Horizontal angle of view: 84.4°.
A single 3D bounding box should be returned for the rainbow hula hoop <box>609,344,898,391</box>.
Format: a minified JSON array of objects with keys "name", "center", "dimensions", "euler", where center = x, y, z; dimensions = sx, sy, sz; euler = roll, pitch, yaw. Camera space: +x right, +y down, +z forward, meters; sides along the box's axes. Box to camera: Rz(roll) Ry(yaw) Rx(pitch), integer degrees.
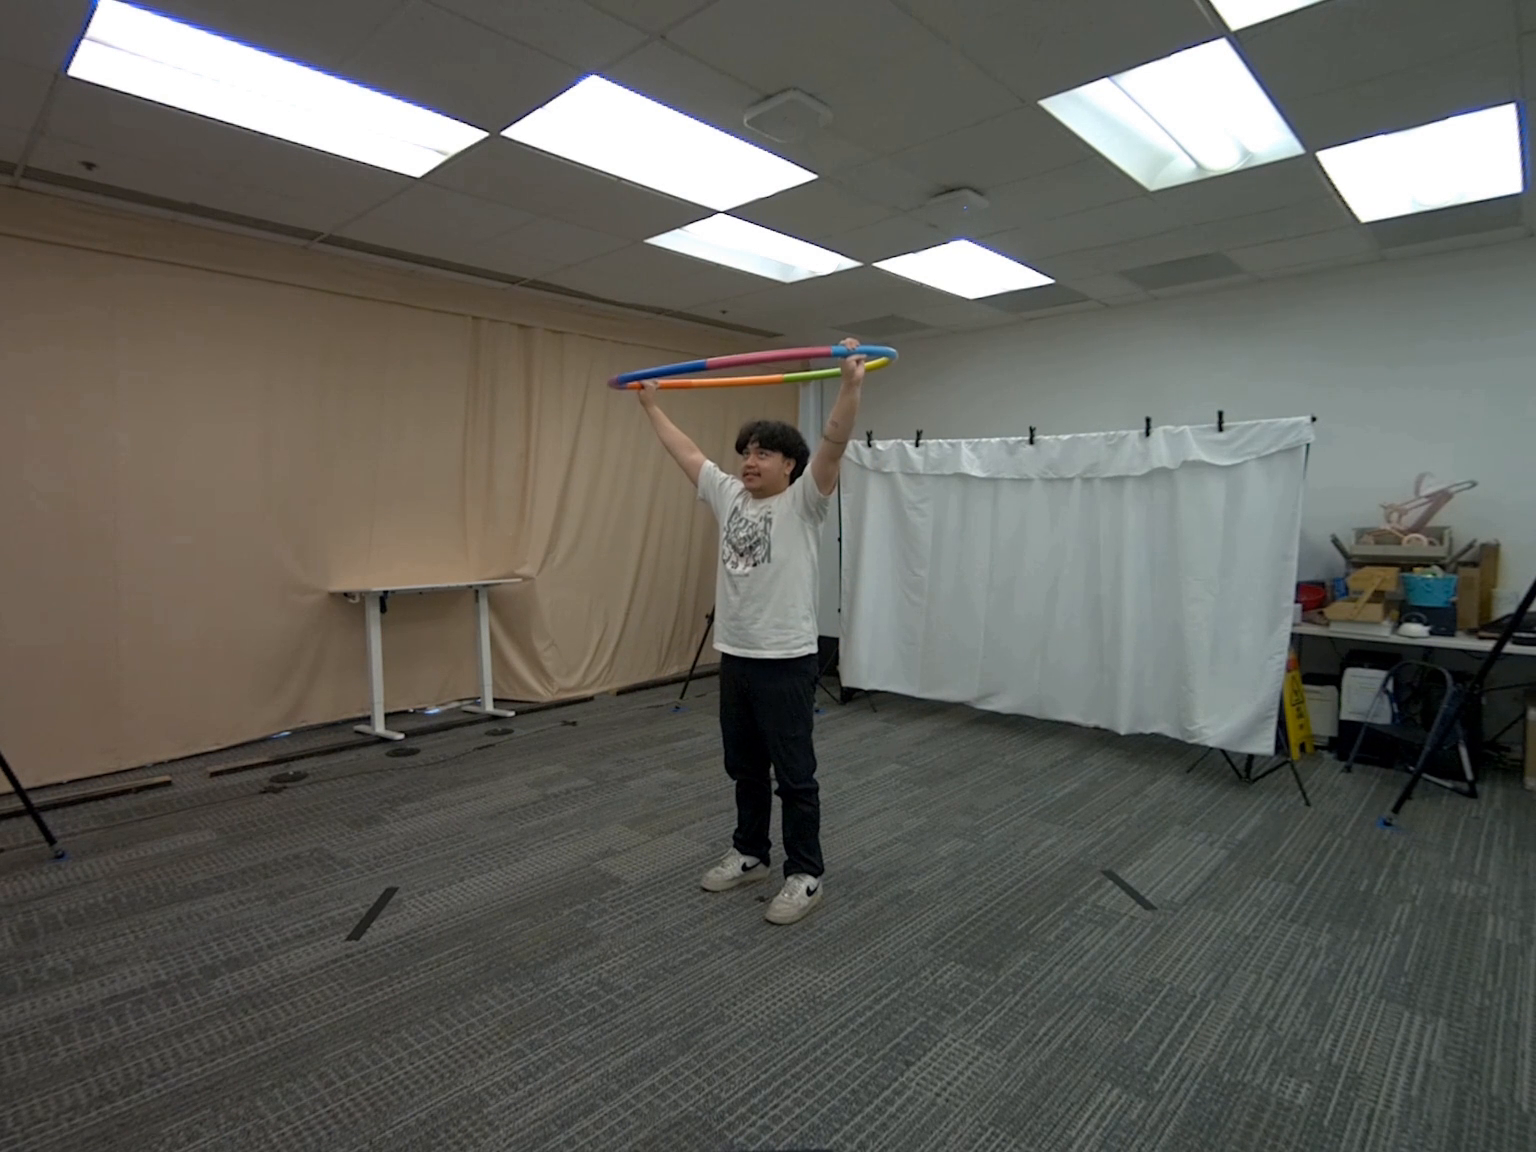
[{"name":"rainbow hula hoop","center":[-0.057,-0.703,2.888],"dimensions":[0.985,0.051,0.991],"euler":[-5,9,-1]}]
